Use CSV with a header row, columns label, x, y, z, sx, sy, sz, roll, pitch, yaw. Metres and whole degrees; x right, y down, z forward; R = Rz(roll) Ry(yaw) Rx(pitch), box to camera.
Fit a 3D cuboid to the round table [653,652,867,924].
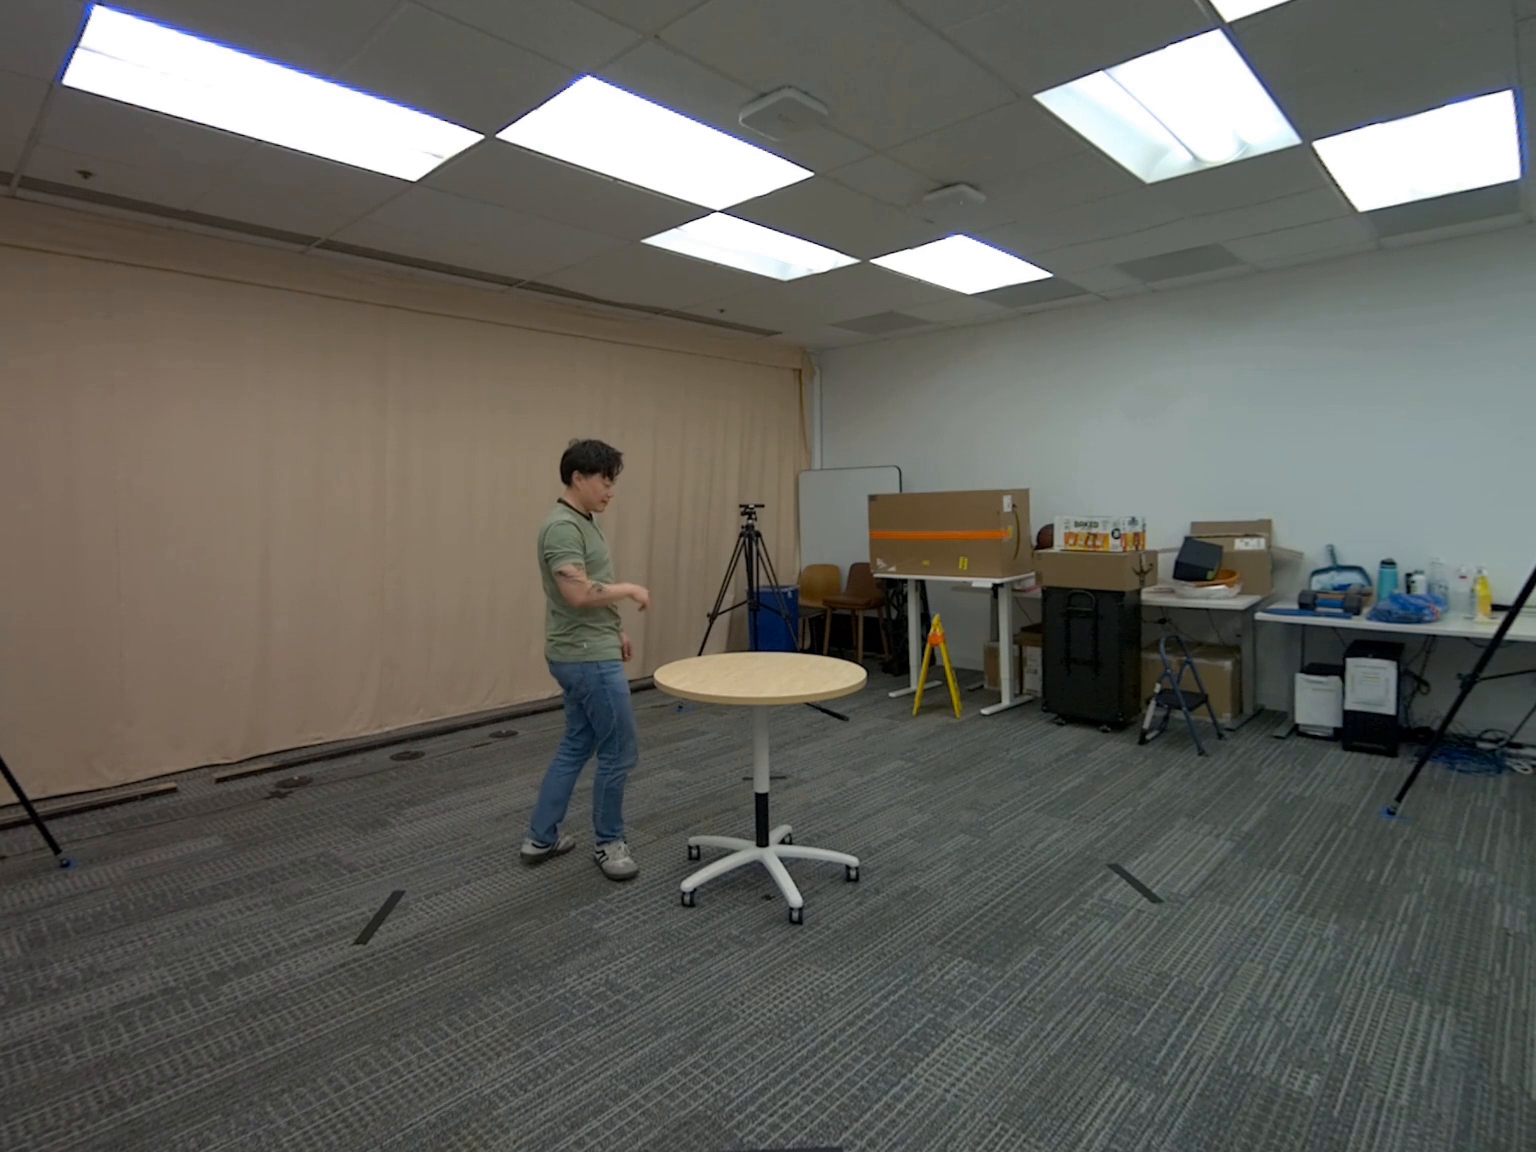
label,x,y,z,sx,sy,sz,roll,pitch,yaw
round table,-0.017,0.741,3.076,0.763,0.792,0.767,-1,4,-2
